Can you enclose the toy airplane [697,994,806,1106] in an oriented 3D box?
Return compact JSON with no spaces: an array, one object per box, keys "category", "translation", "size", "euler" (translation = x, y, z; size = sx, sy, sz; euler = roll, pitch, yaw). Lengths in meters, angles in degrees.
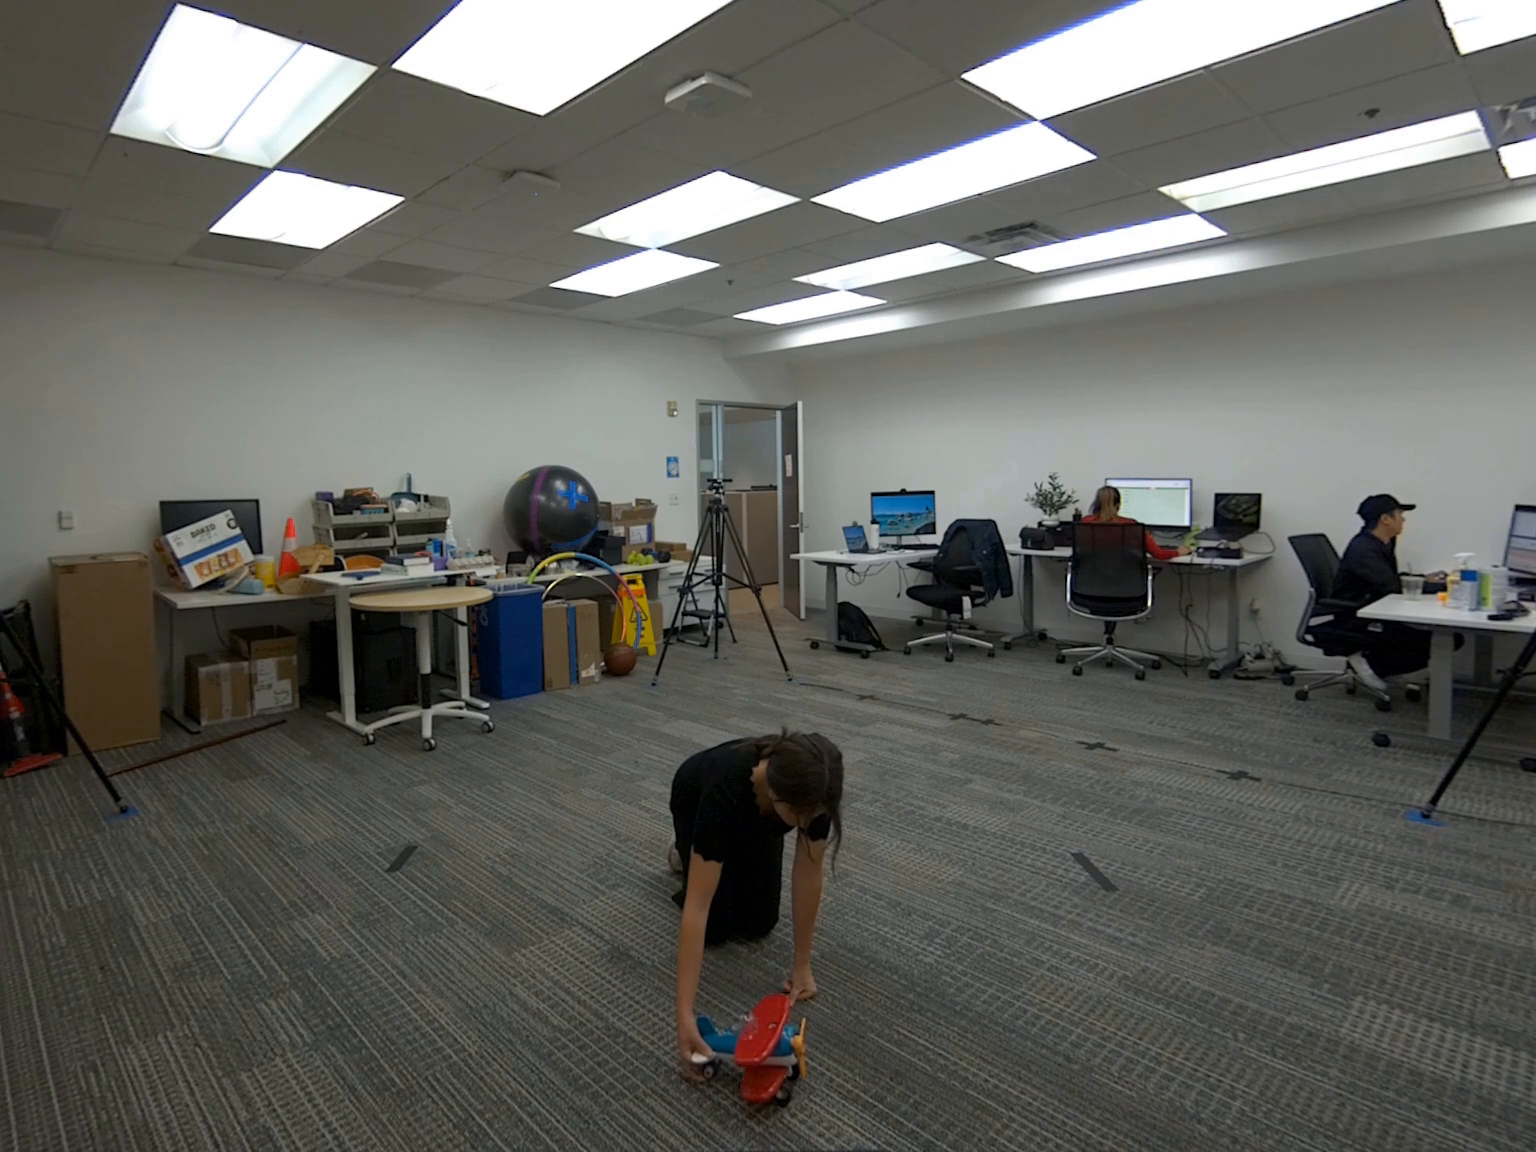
[{"category":"toy airplane","translation":[-0.036,1.116,1.949],"size":[0.257,0.156,0.254],"euler":[1,6,-10]}]
